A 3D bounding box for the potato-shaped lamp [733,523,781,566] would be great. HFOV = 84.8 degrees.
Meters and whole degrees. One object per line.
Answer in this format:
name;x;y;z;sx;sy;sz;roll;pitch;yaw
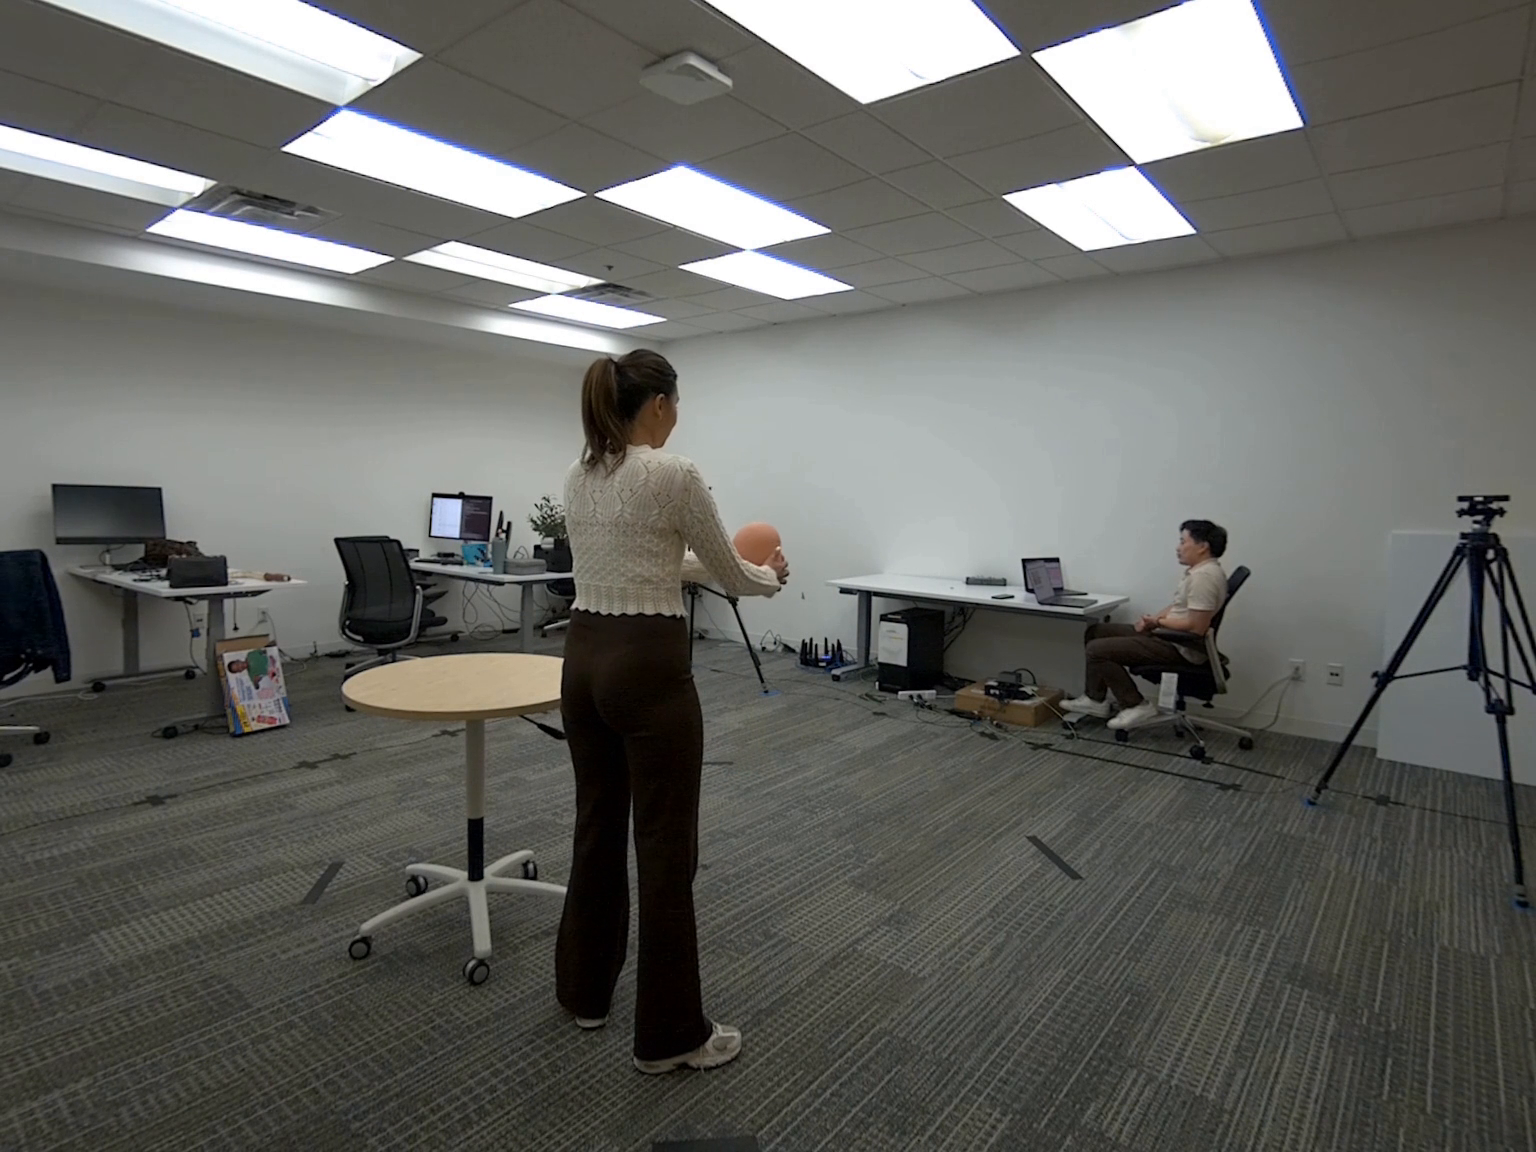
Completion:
potato-shaped lamp;-0.045;-0.061;2.533;0.165;0.198;0.170;11;-2;-35
